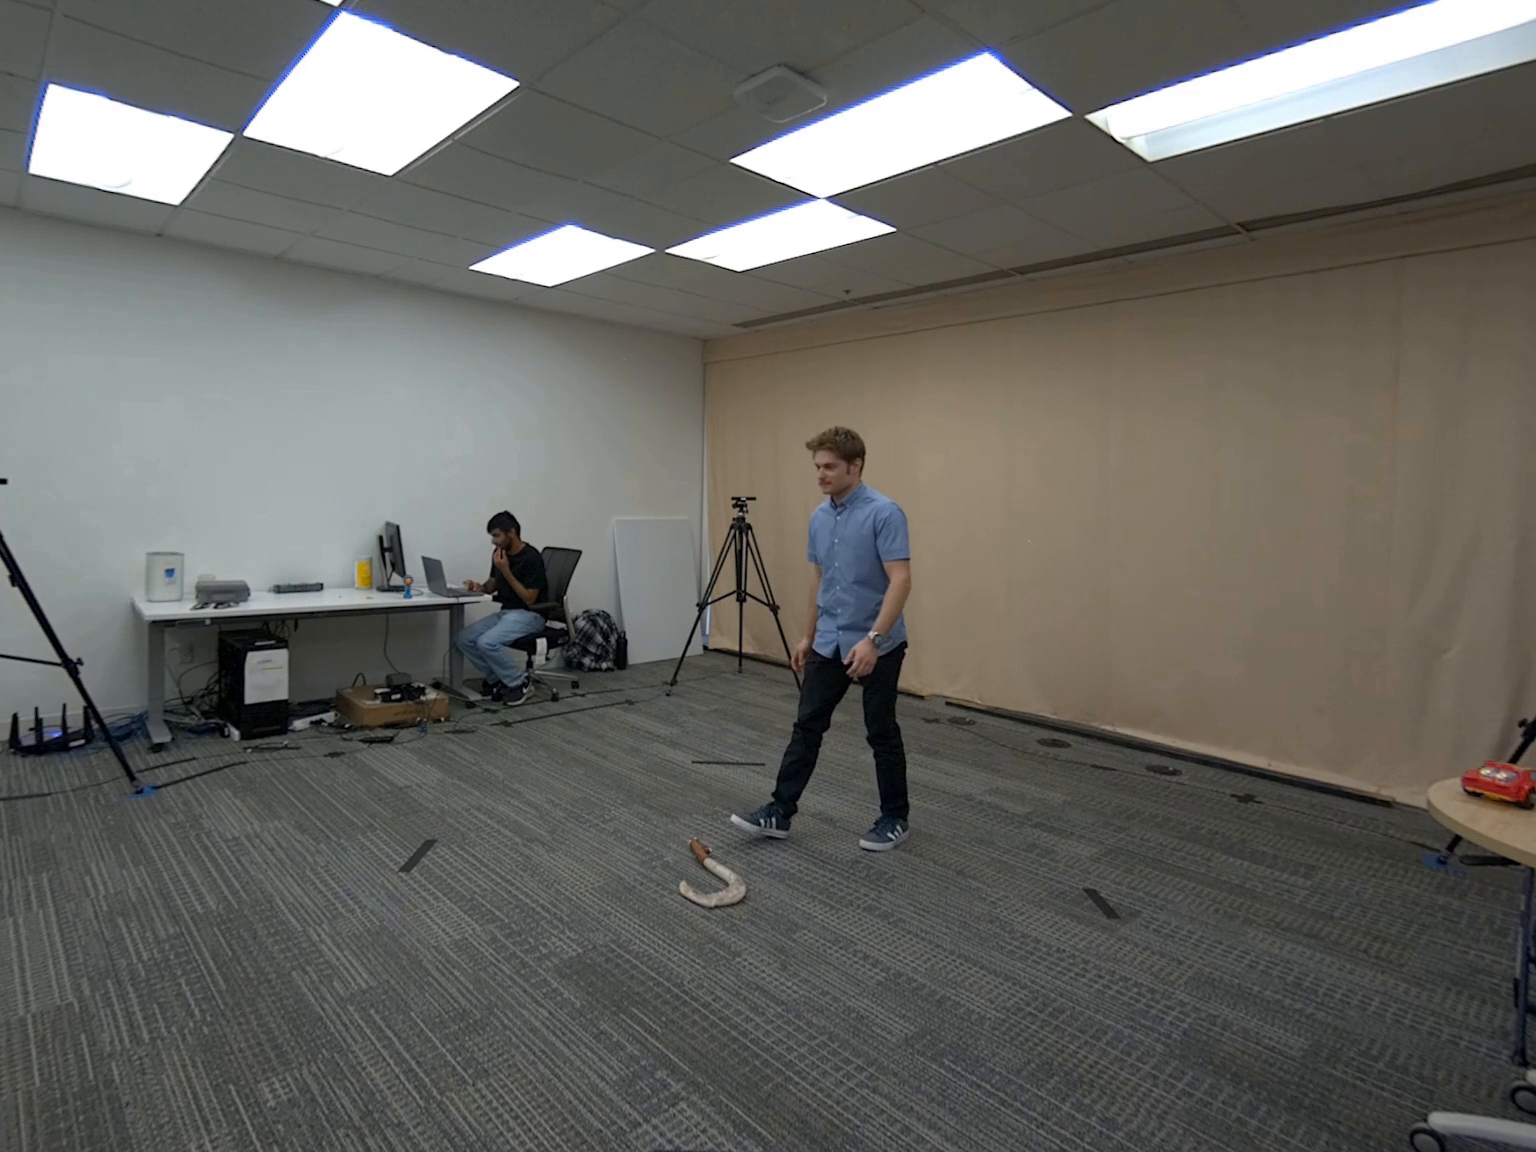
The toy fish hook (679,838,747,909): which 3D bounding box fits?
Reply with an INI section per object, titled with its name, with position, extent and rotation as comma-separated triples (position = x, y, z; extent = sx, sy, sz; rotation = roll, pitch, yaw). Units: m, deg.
[toy fish hook]
position = -0.252, 1.084, 3.093
extent = 0.221, 0.048, 0.516
rotation = 1, 5, -22
